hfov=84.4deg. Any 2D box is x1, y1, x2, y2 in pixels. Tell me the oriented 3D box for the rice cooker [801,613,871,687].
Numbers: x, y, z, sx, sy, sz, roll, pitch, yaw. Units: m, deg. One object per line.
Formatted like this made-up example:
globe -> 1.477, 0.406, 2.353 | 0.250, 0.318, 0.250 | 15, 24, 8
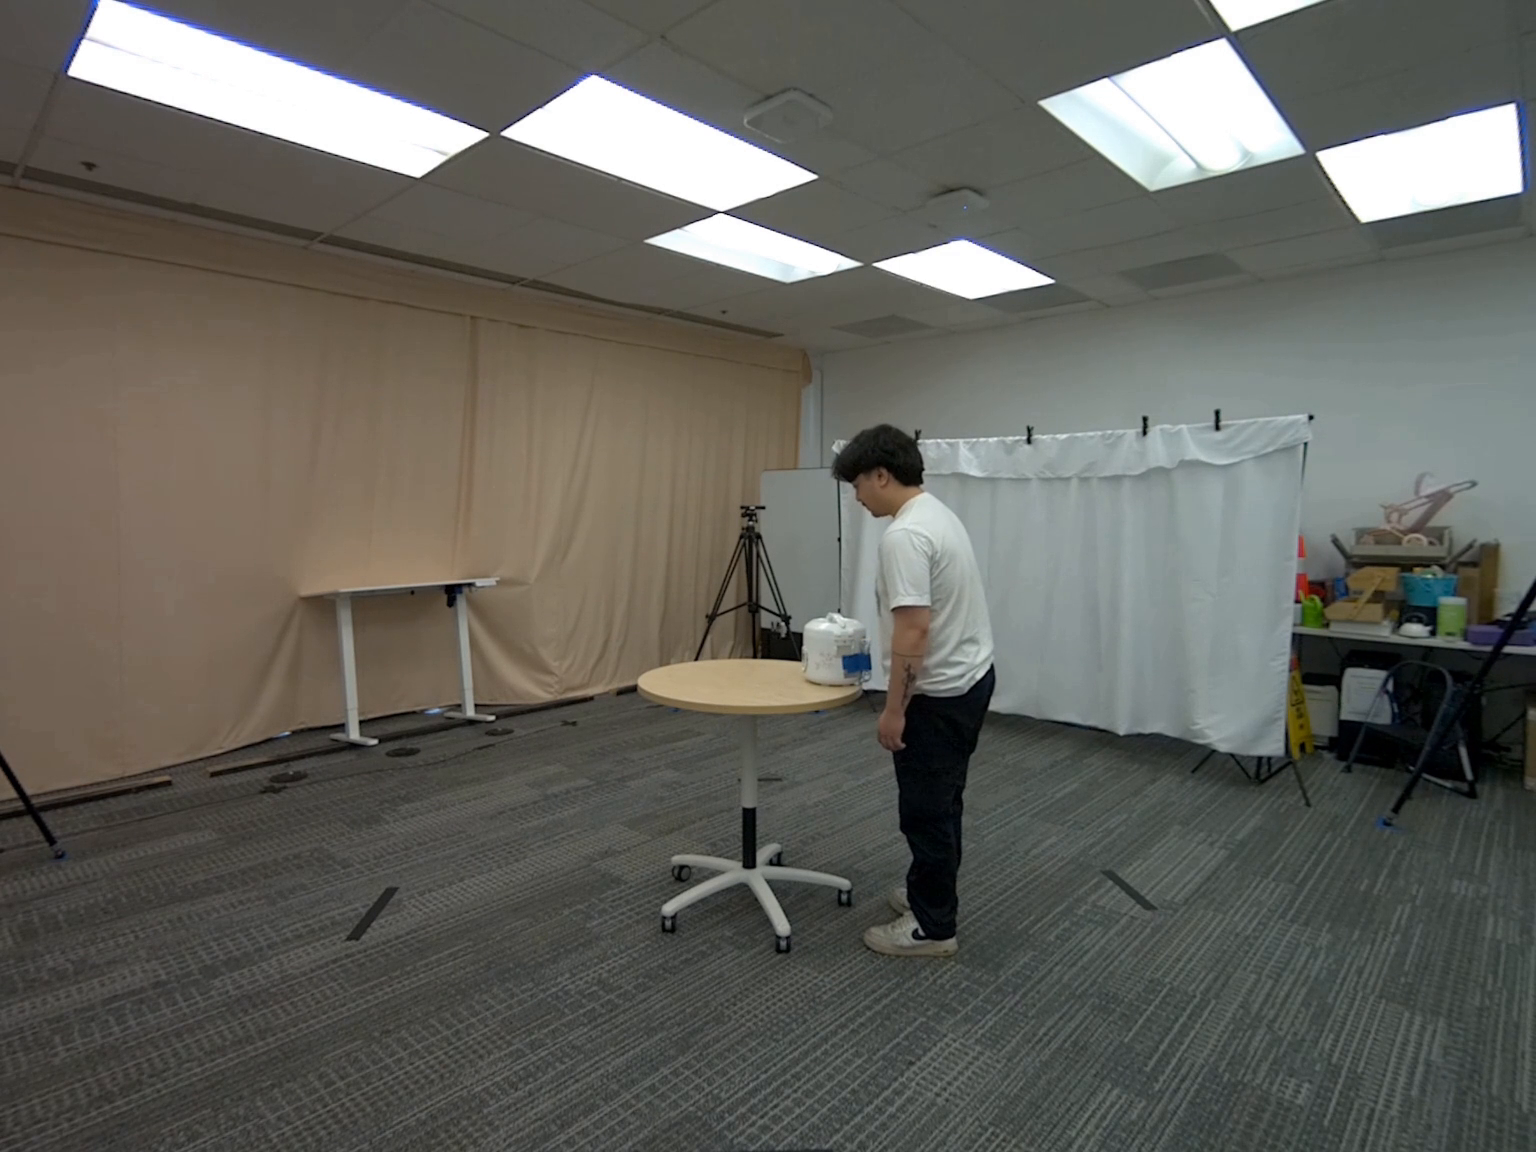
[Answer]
rice cooker -> 0.229, 0.245, 2.862 | 0.215, 0.232, 0.223 | 1, 3, -10
